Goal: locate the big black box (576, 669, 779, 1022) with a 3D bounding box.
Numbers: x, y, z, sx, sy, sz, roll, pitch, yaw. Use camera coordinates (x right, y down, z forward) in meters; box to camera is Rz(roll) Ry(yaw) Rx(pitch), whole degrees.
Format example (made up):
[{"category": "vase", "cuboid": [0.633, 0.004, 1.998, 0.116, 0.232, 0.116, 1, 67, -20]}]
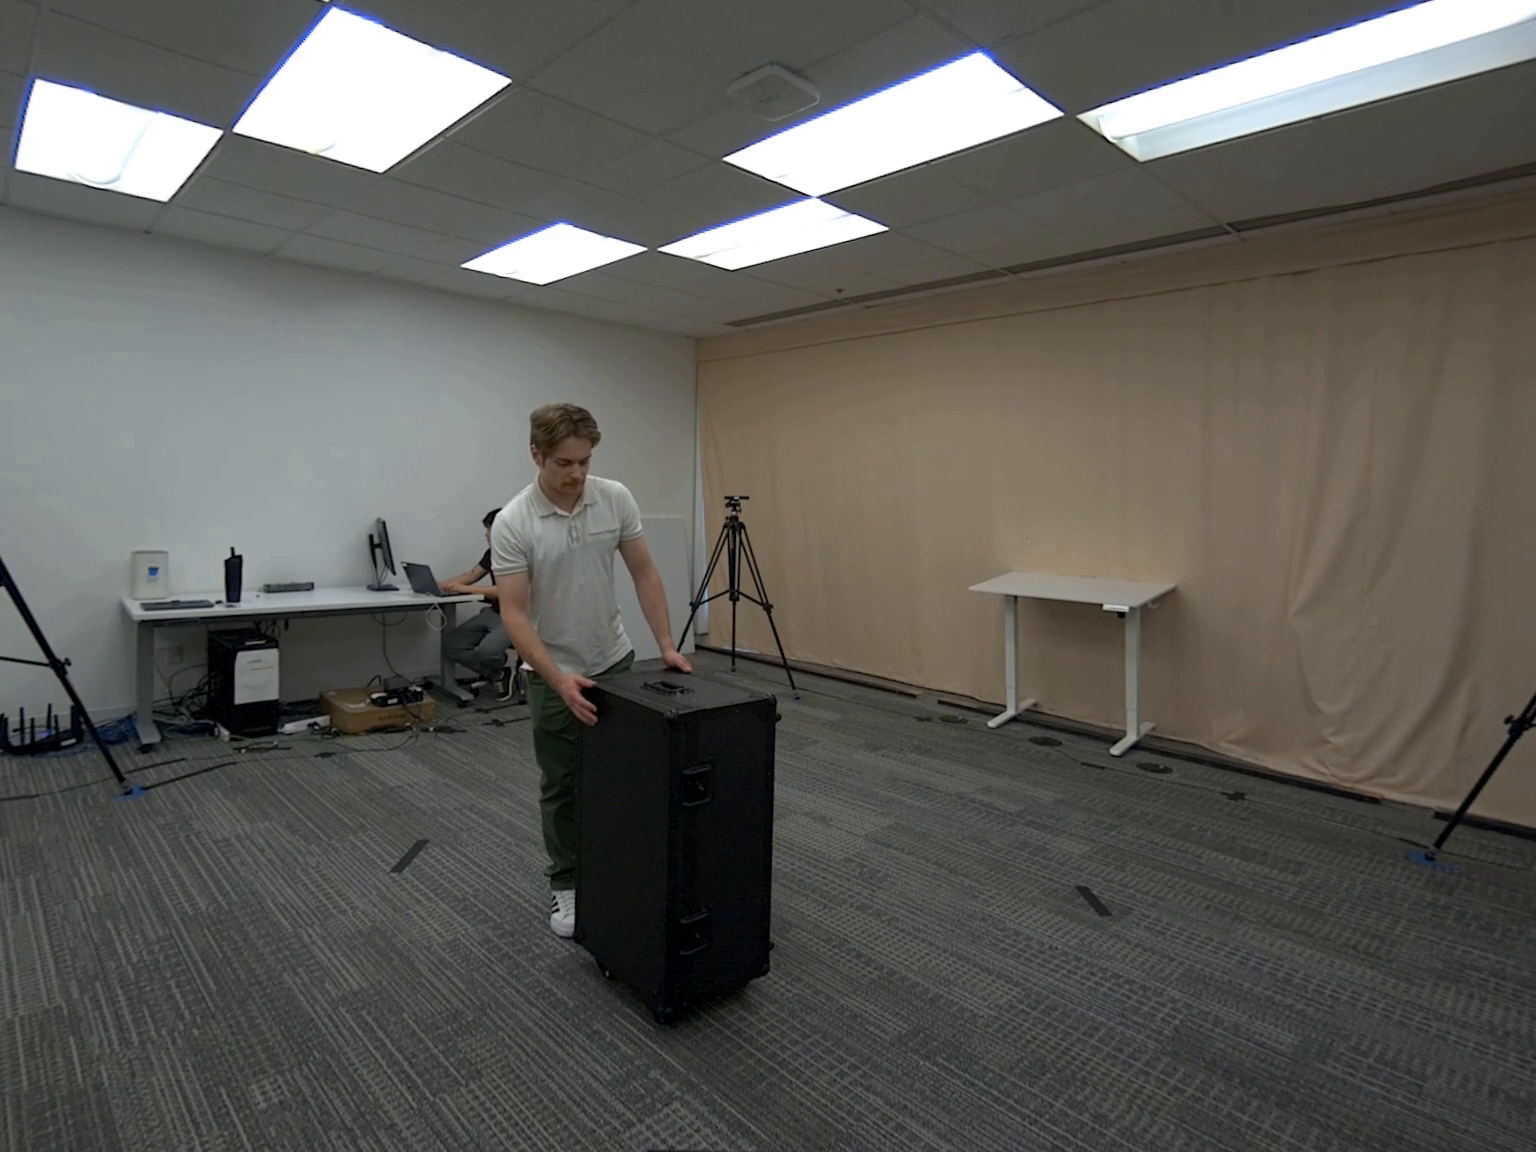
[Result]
[{"category": "big black box", "cuboid": [-0.280, 0.749, 2.398, 0.376, 0.866, 0.537, -1, 4, -40]}]
